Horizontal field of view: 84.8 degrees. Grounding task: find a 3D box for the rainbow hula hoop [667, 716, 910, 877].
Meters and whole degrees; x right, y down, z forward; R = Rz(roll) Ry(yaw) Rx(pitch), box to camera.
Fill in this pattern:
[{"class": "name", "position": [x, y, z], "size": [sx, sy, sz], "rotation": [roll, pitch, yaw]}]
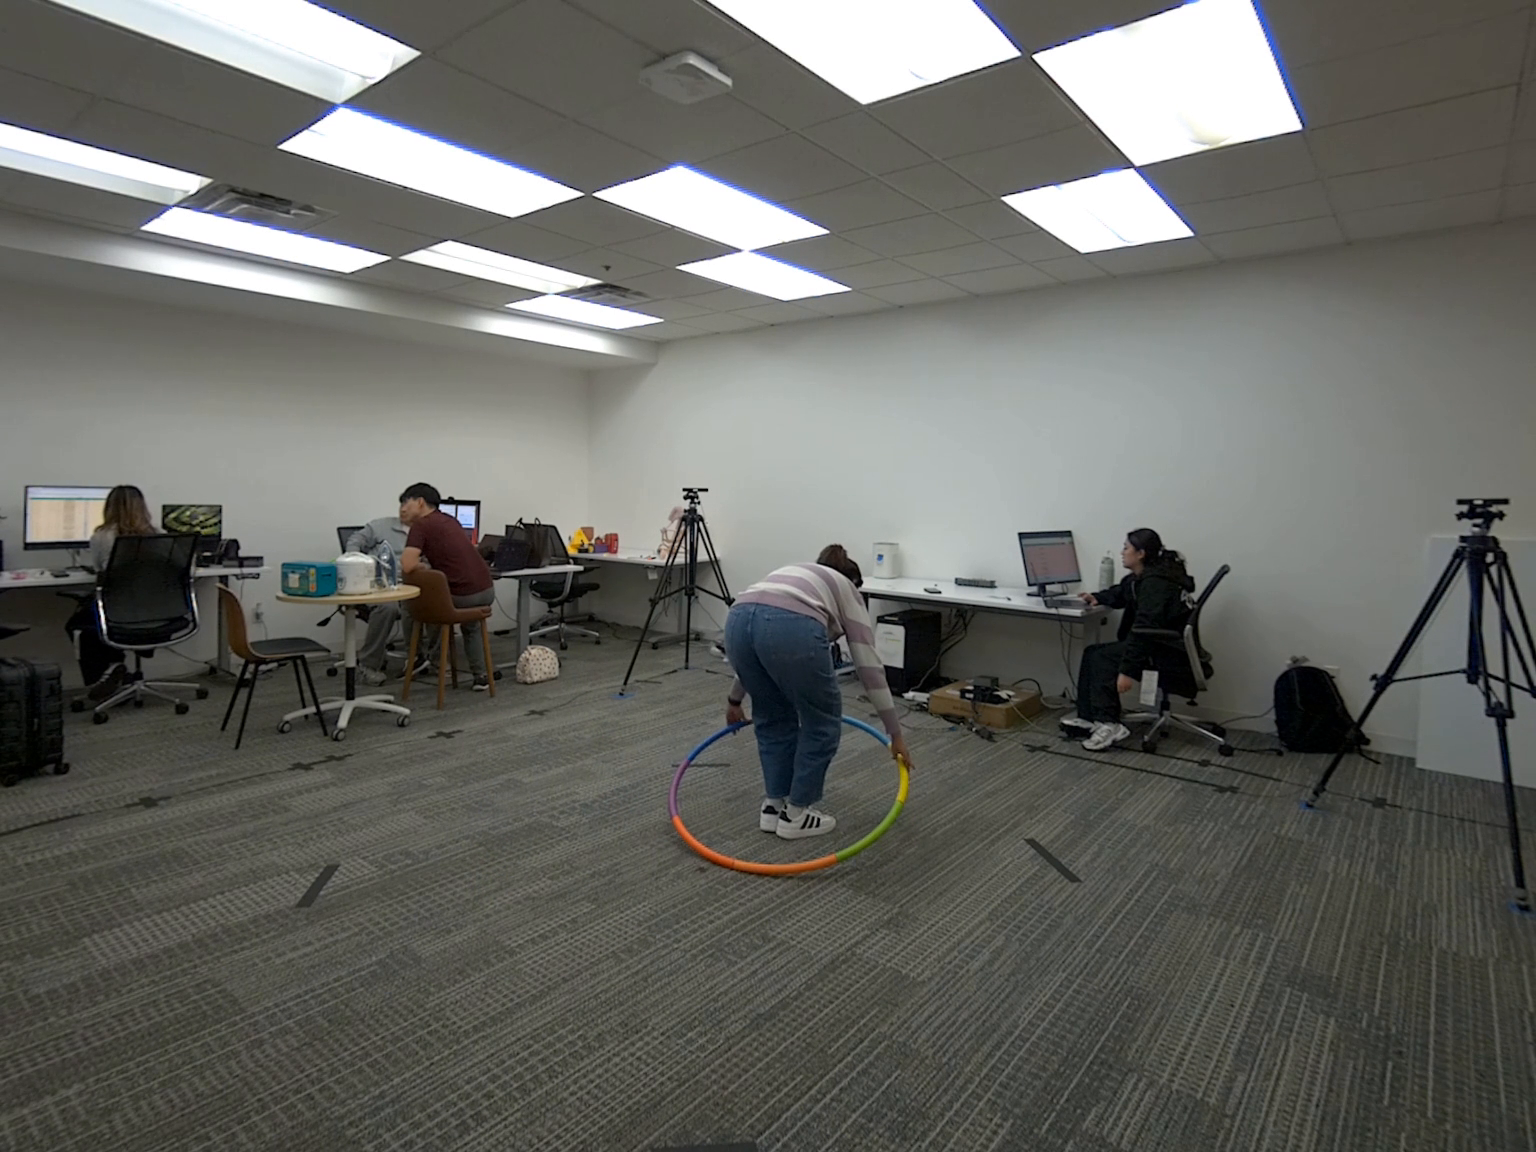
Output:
[{"class": "rainbow hula hoop", "position": [0.072, 0.835, 3.494], "size": [0.981, 0.035, 1.000], "rotation": [-8, 24, 2]}]
